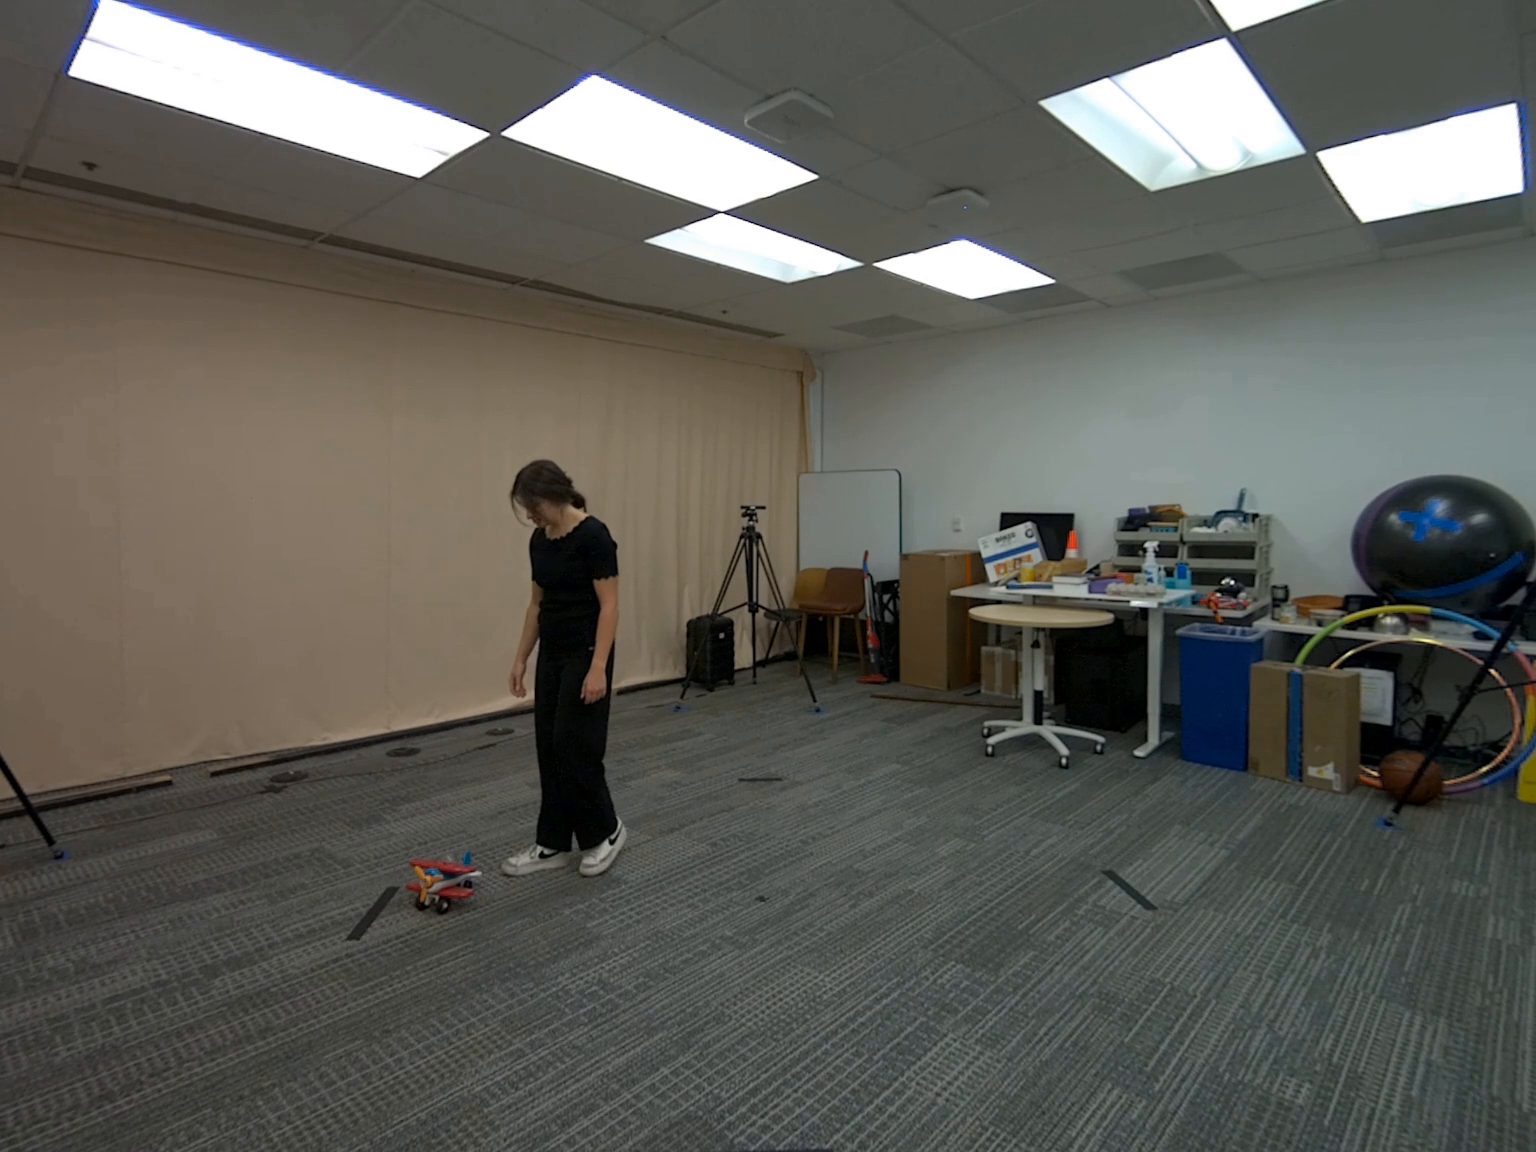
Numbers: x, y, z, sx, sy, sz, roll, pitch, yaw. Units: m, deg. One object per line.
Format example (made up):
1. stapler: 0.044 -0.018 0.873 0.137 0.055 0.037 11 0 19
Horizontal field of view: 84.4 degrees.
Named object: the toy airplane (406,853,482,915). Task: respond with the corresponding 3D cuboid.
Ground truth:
1. toy airplane: -1.156 1.079 2.990 0.248 0.156 0.263 -1 5 -11
